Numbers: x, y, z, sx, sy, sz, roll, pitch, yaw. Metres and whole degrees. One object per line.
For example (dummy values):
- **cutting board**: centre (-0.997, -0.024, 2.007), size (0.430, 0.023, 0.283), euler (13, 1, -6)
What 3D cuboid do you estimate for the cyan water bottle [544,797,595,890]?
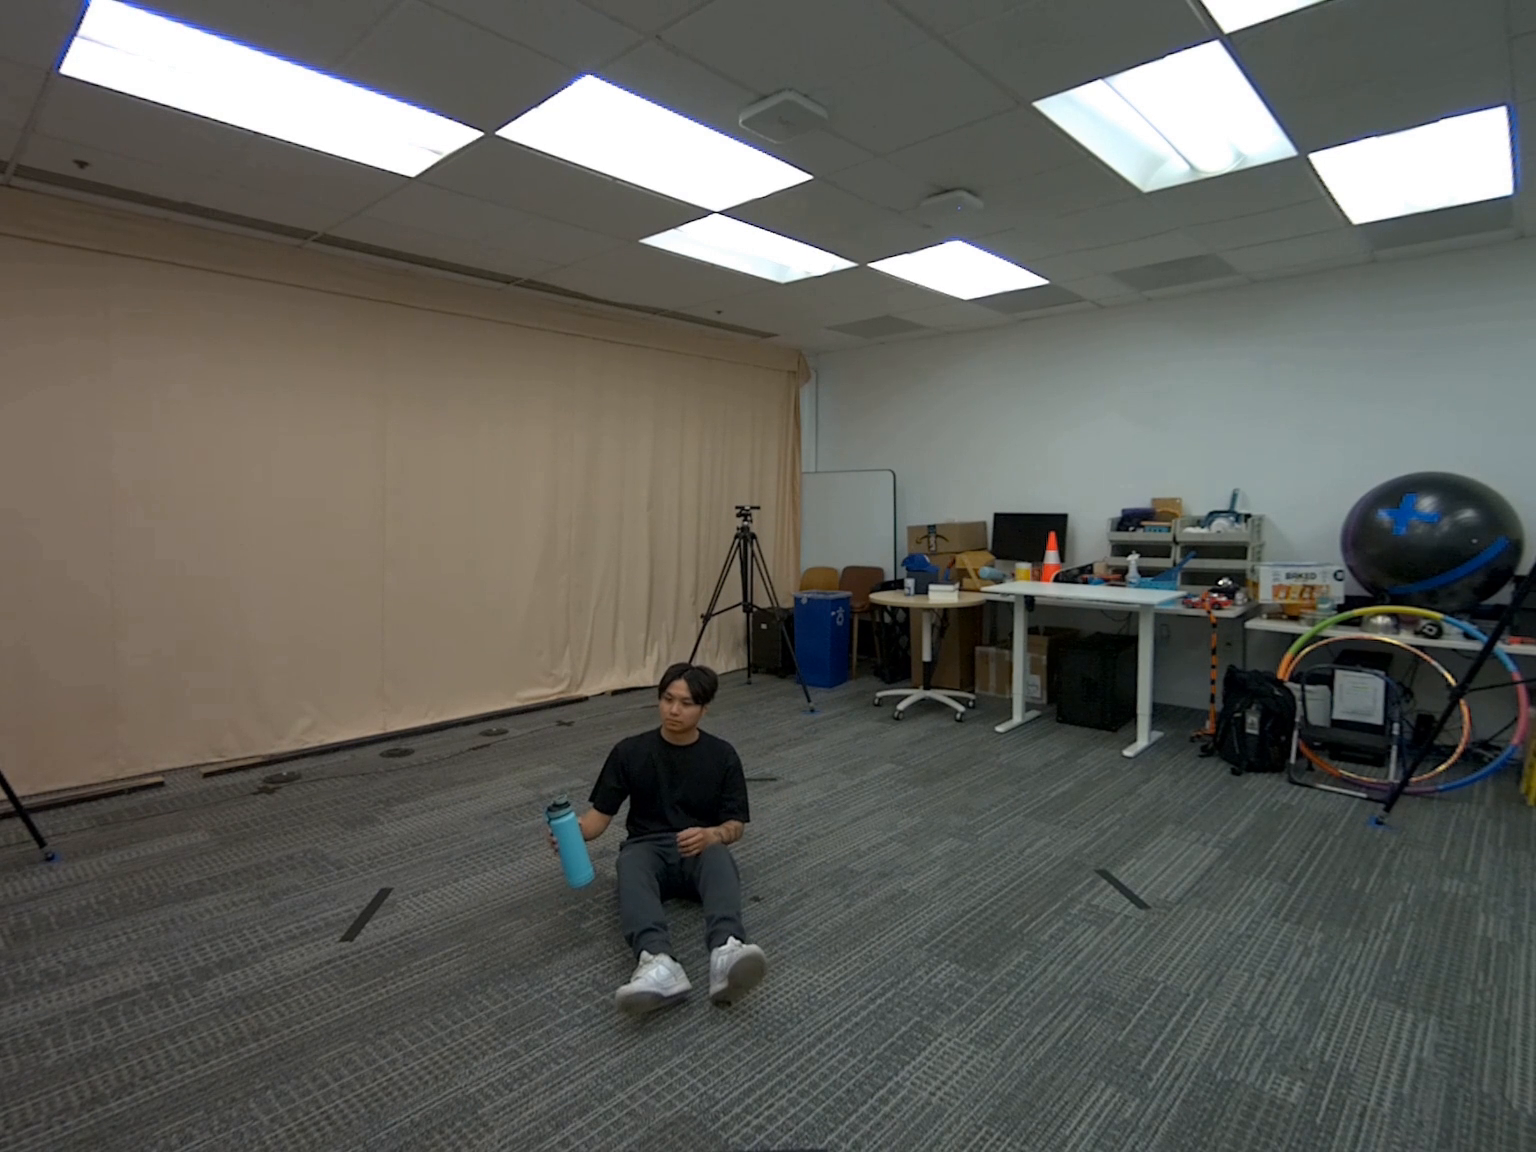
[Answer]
- **cyan water bottle**: centre (-0.648, 0.862, 2.752), size (0.092, 0.282, 0.092), euler (-17, 3, -1)
